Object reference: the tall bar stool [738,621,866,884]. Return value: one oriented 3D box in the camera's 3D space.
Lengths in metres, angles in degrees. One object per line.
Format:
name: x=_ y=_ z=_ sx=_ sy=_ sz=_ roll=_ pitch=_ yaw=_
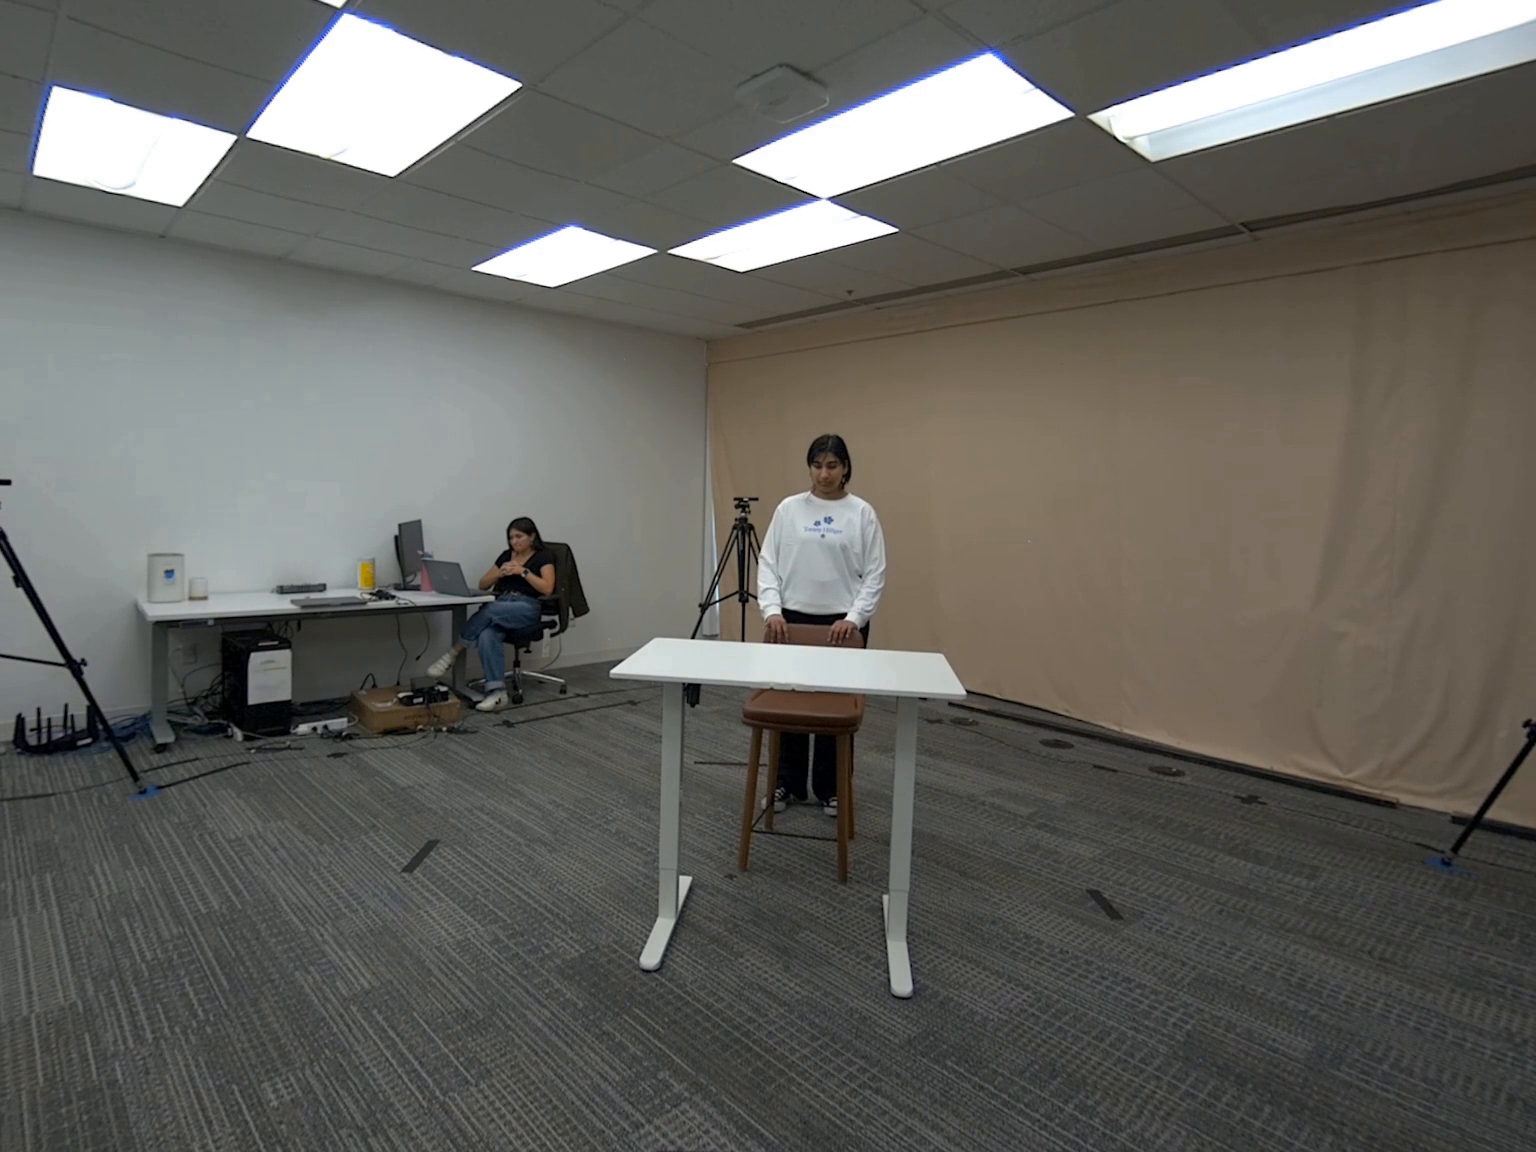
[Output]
tall bar stool: x=0.132 y=0.661 z=3.303 sx=0.462 sy=0.889 sz=0.462 roll=2 pitch=0 yaw=14
